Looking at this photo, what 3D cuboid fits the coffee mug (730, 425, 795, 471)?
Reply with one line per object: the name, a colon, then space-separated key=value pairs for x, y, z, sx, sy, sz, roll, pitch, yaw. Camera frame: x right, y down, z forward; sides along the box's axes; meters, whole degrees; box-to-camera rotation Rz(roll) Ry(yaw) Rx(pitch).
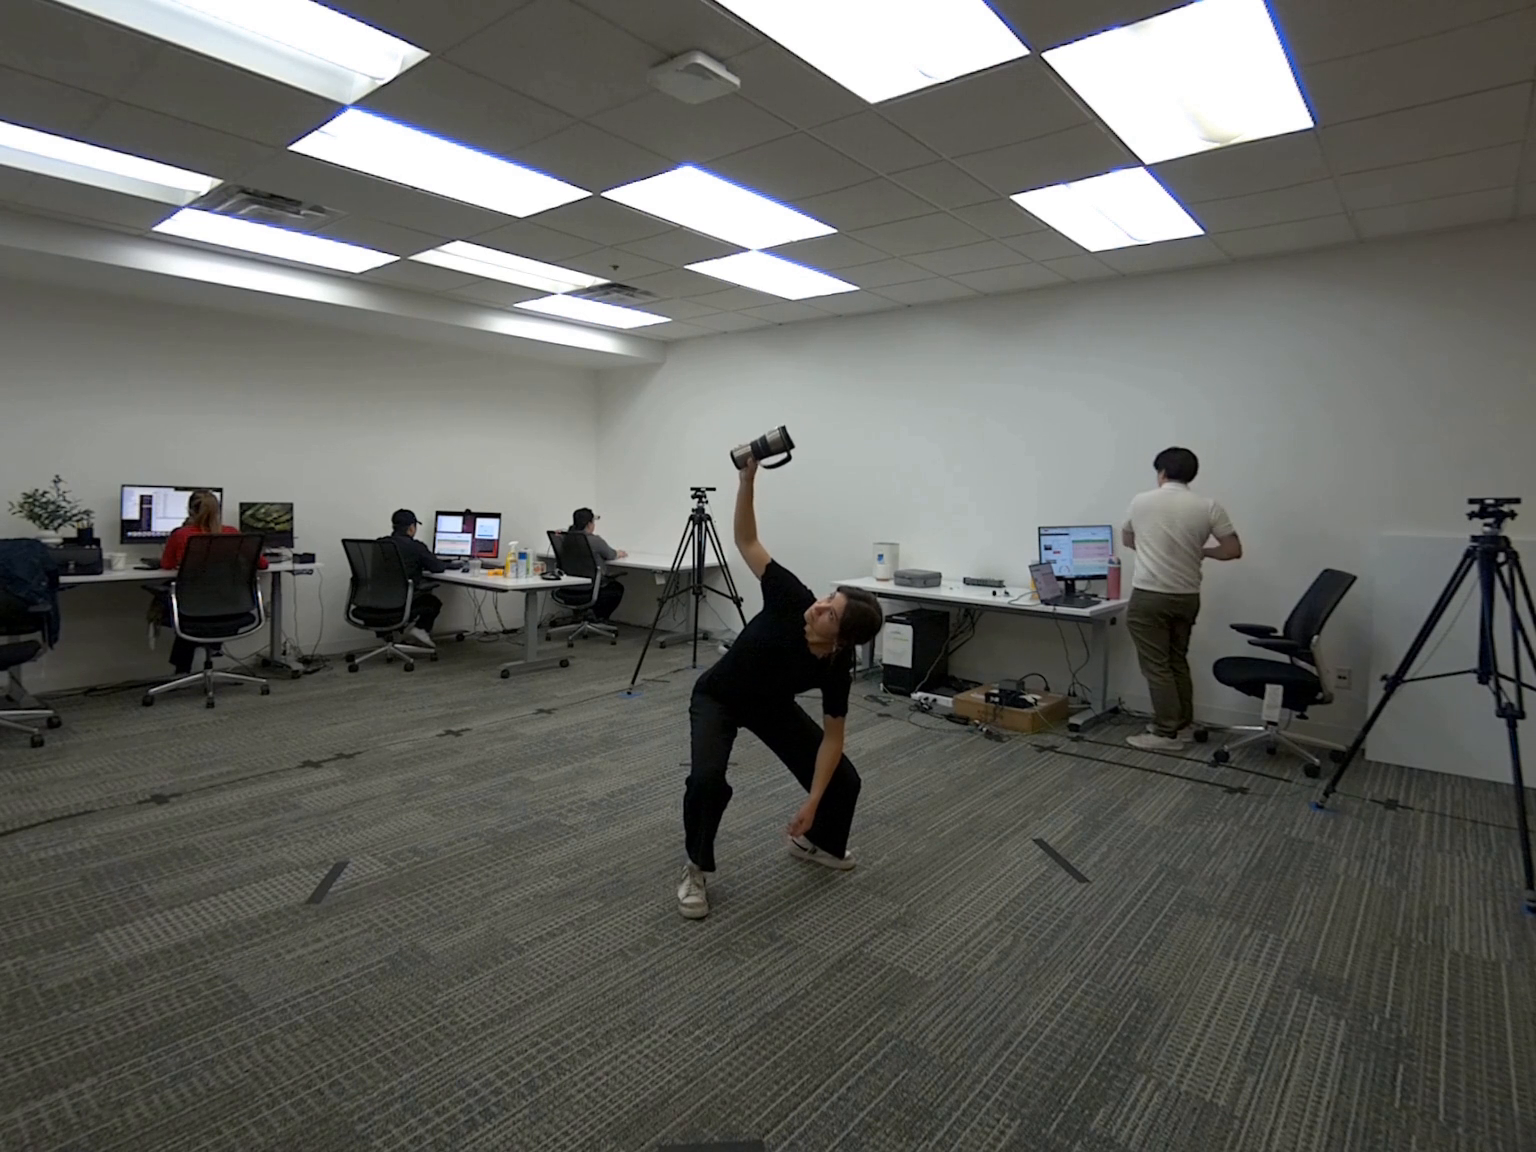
coffee mug: x=-0.030 y=-0.412 z=2.756 sx=0.204 sy=0.085 sz=0.125 roll=-22 pitch=27 yaw=10
